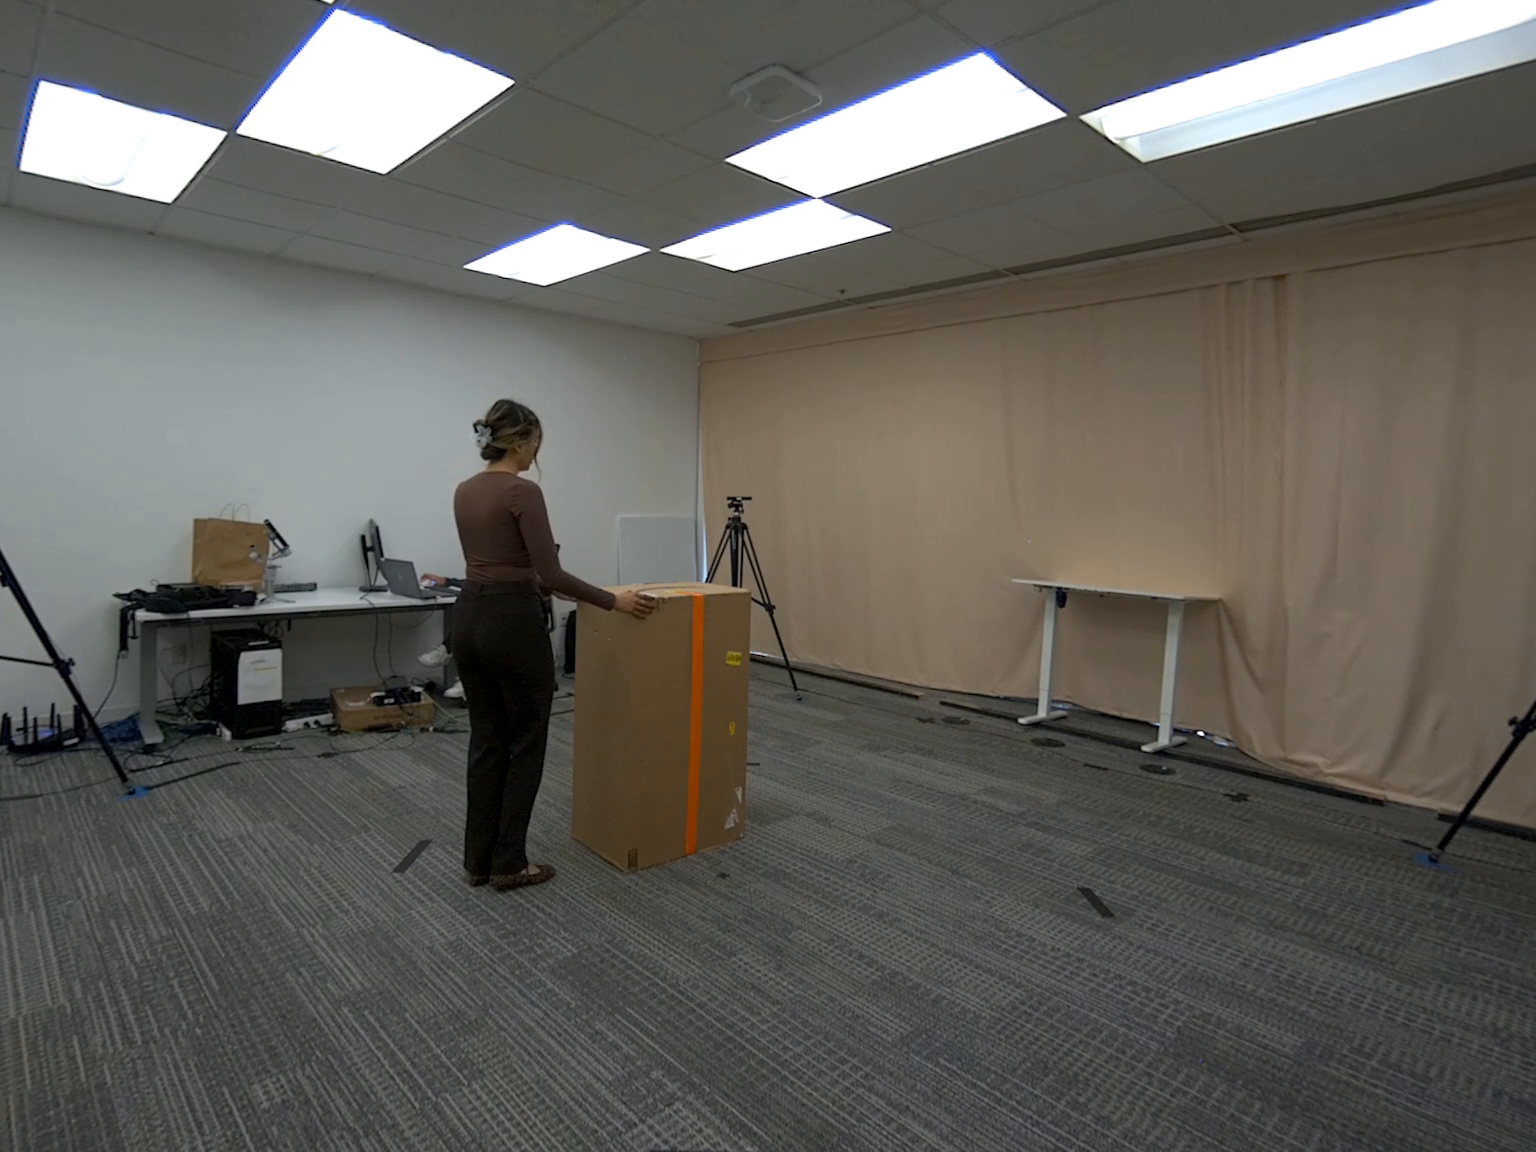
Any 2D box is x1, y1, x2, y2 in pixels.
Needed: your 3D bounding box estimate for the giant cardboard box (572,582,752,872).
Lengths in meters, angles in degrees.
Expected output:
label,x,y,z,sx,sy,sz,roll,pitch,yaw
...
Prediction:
label,x,y,z,sx,sy,sz,roll,pitch,yaw
giant cardboard box,-0.435,0.563,3.416,0.571,1.024,0.458,-1,5,-40
